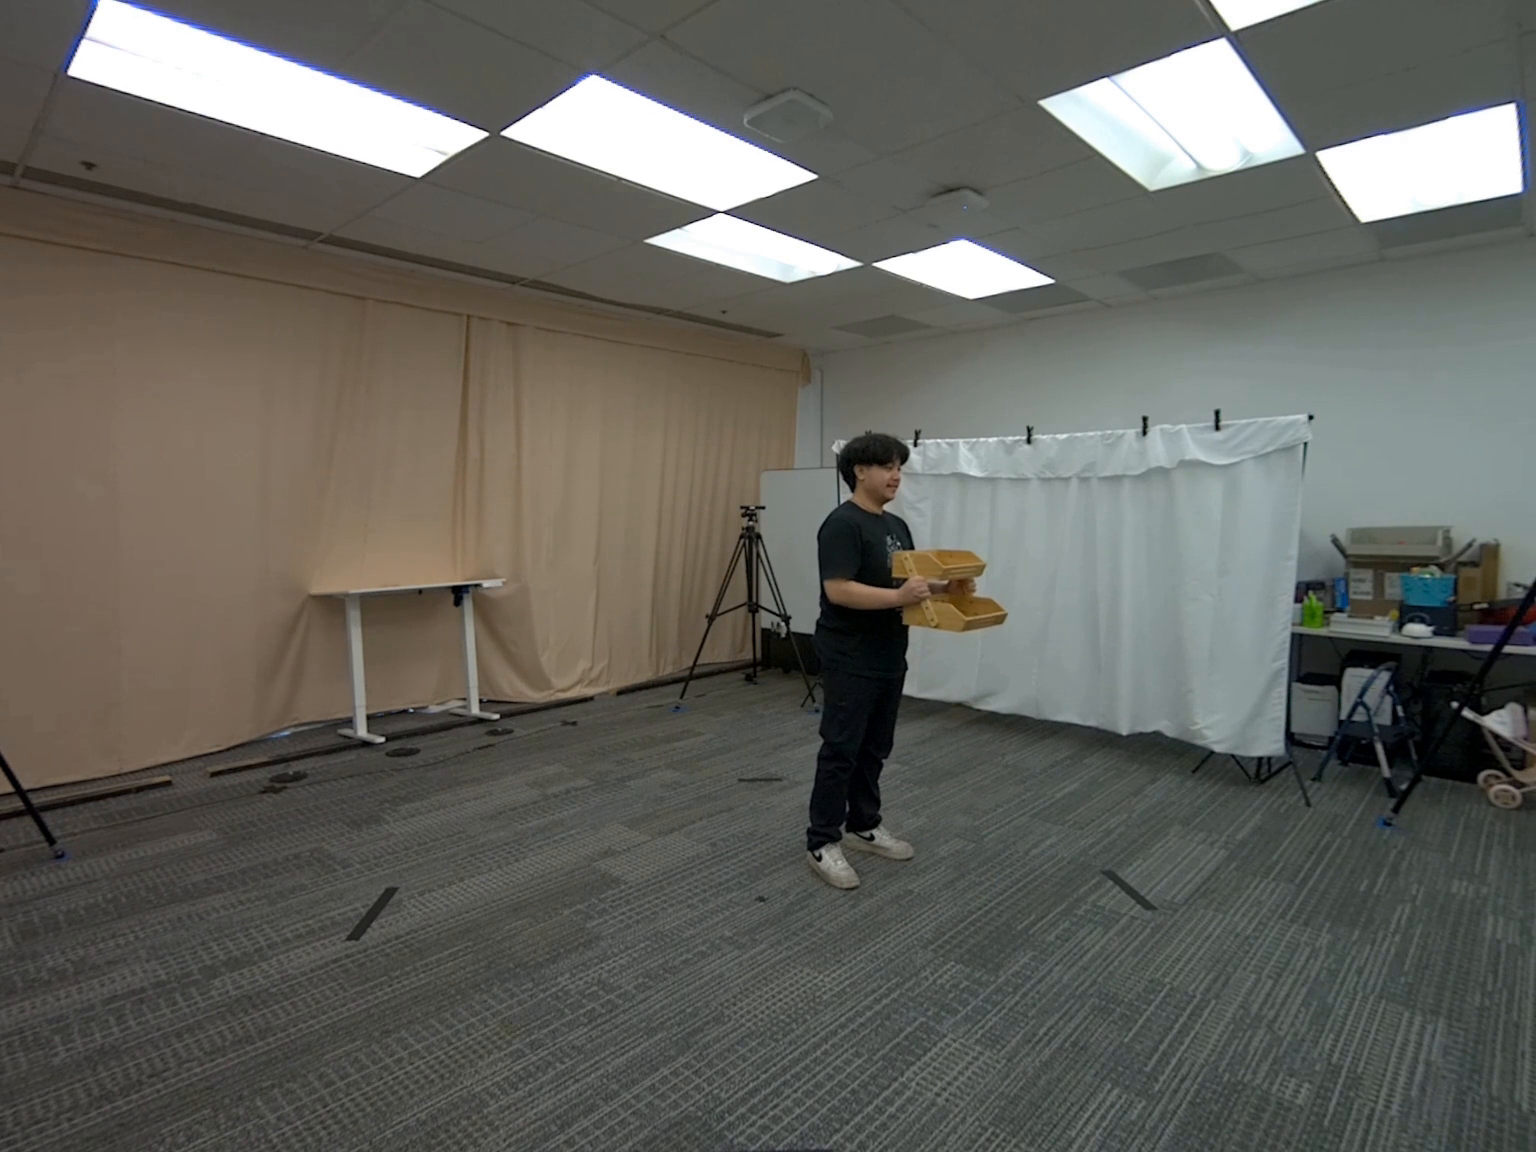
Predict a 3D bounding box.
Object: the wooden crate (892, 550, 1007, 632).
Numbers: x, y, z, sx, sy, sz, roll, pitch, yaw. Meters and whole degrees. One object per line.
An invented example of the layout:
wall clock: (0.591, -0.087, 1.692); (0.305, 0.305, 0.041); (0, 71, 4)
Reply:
wooden crate: (0.669, 0.037, 3.048); (0.312, 0.273, 0.314); (4, 5, 44)
